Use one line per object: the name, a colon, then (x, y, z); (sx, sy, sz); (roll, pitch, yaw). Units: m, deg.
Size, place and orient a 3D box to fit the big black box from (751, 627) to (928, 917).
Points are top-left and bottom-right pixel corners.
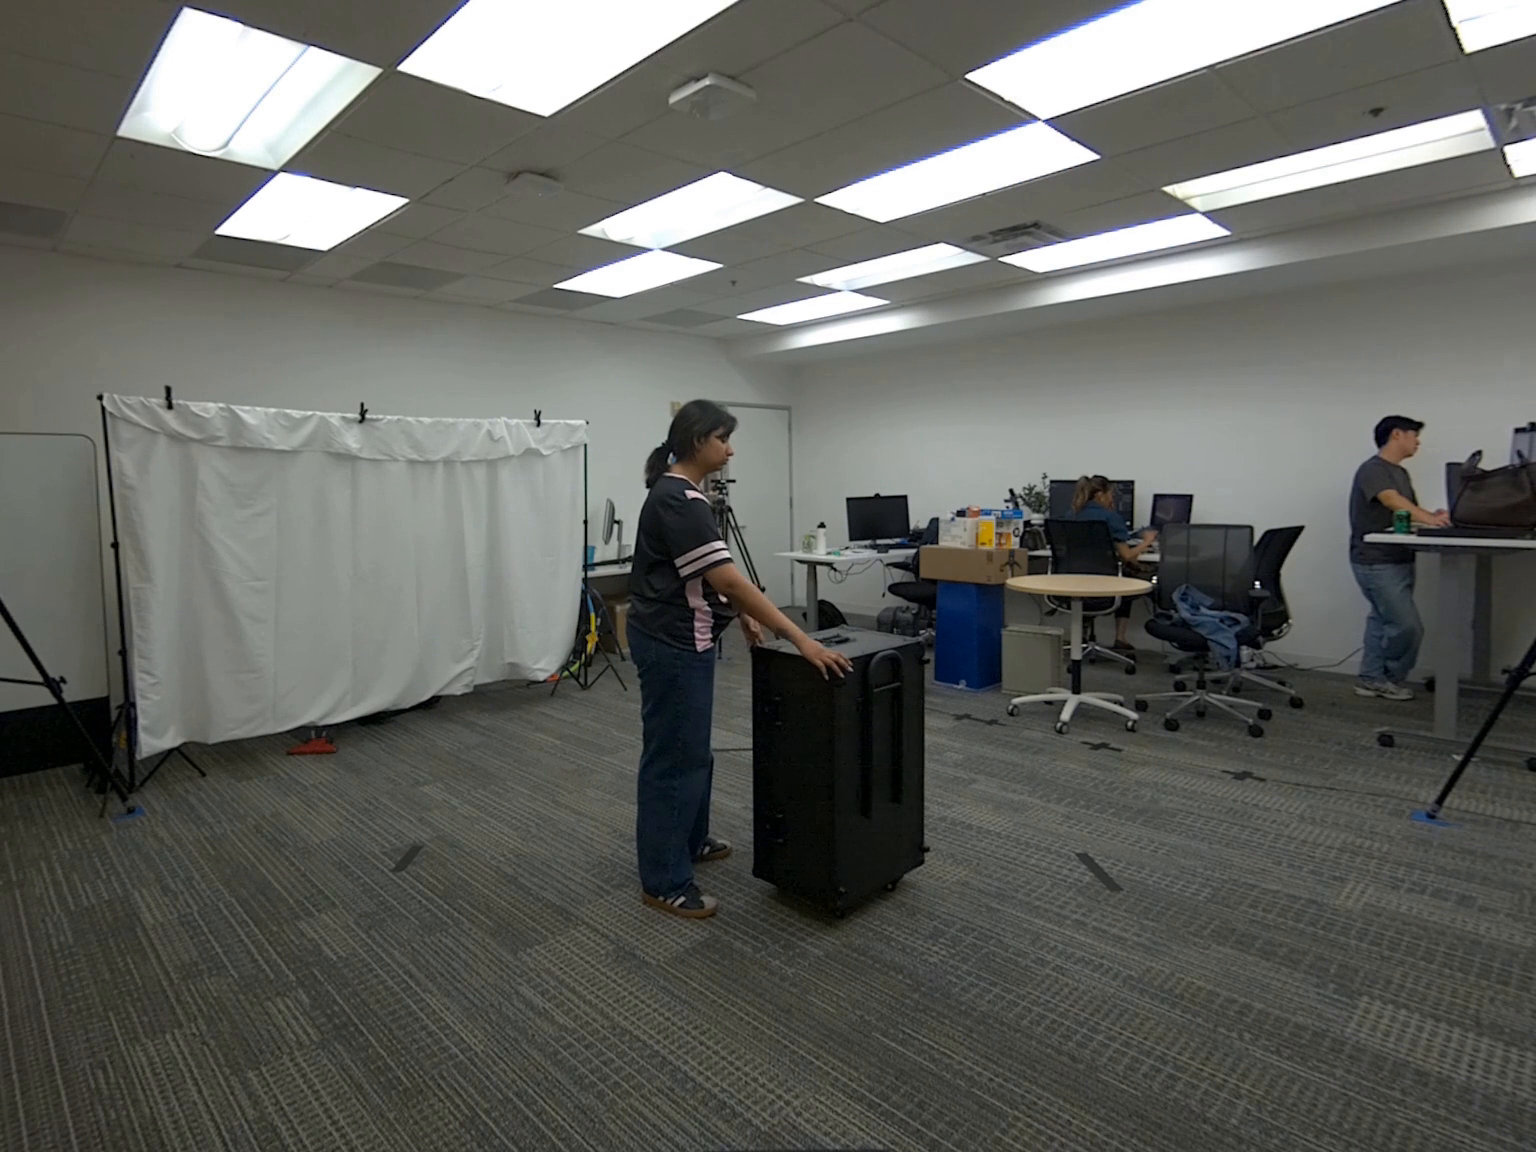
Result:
big black box: (0.247, 0.642, 2.874); (0.397, 0.865, 0.510); (4, 7, 45)
